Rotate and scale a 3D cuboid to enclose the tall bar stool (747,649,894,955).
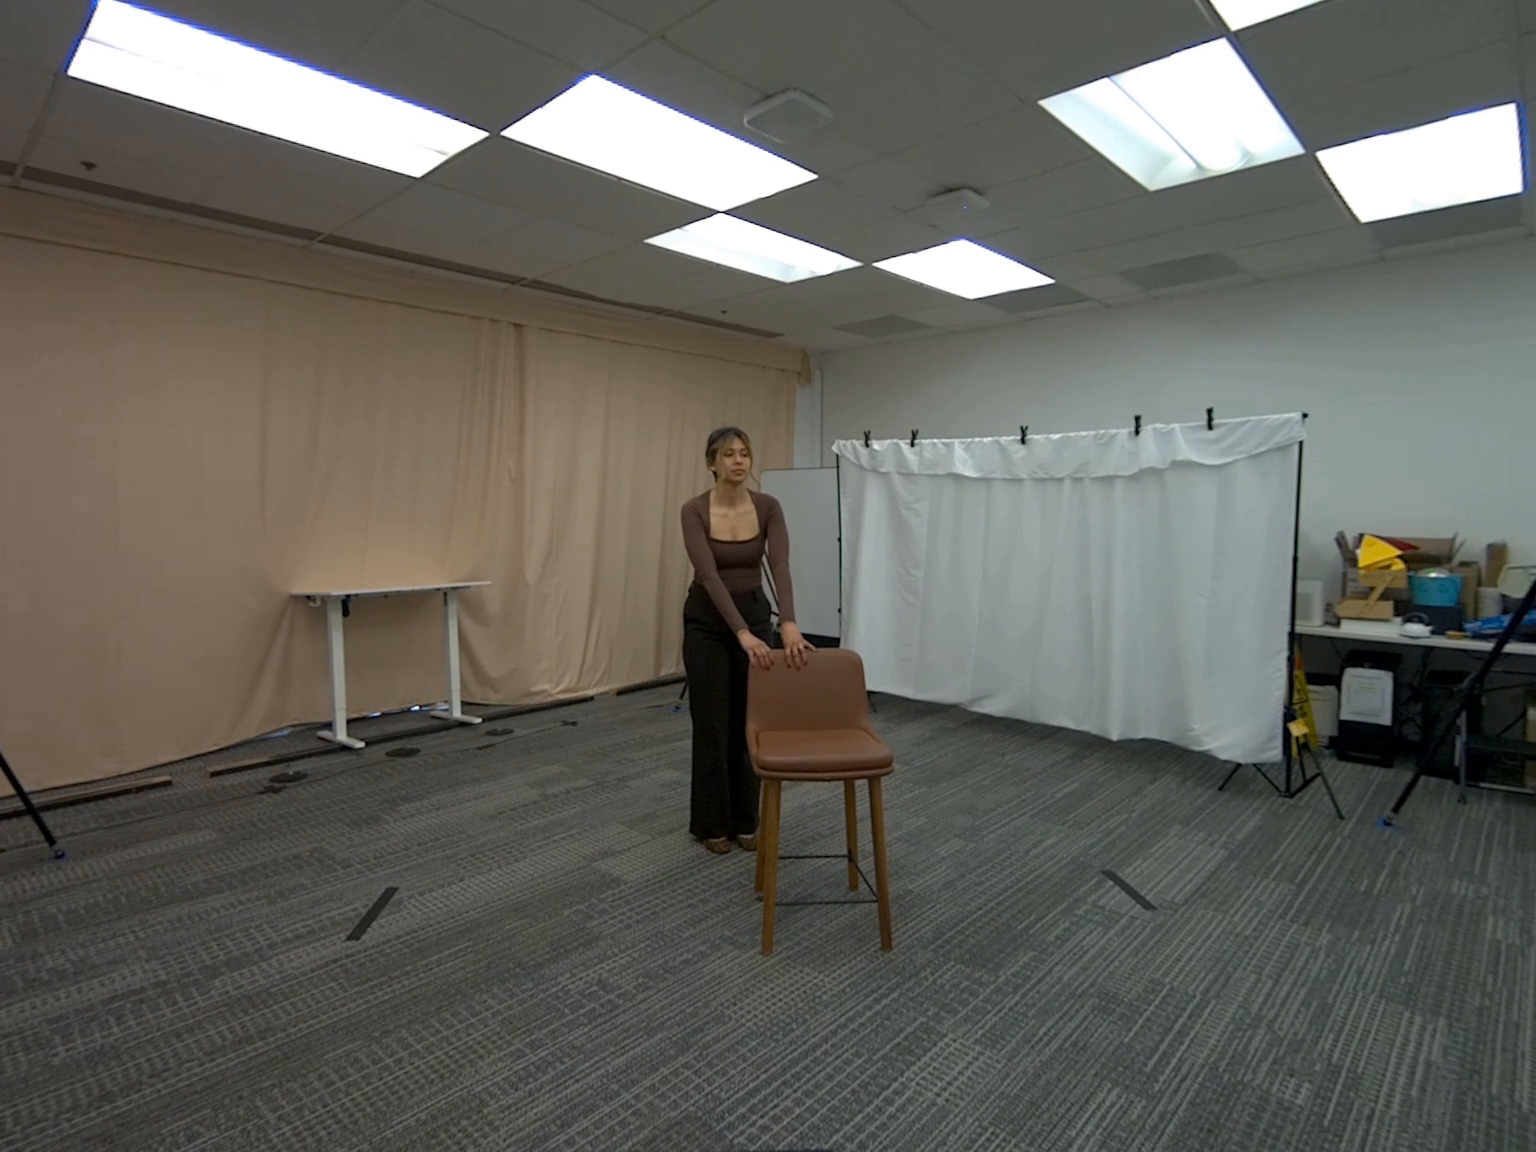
[{"bbox_3d":[0.165,0.722,2.827,0.455,0.889,0.470,0,1,-5],"label":"tall bar stool"}]
